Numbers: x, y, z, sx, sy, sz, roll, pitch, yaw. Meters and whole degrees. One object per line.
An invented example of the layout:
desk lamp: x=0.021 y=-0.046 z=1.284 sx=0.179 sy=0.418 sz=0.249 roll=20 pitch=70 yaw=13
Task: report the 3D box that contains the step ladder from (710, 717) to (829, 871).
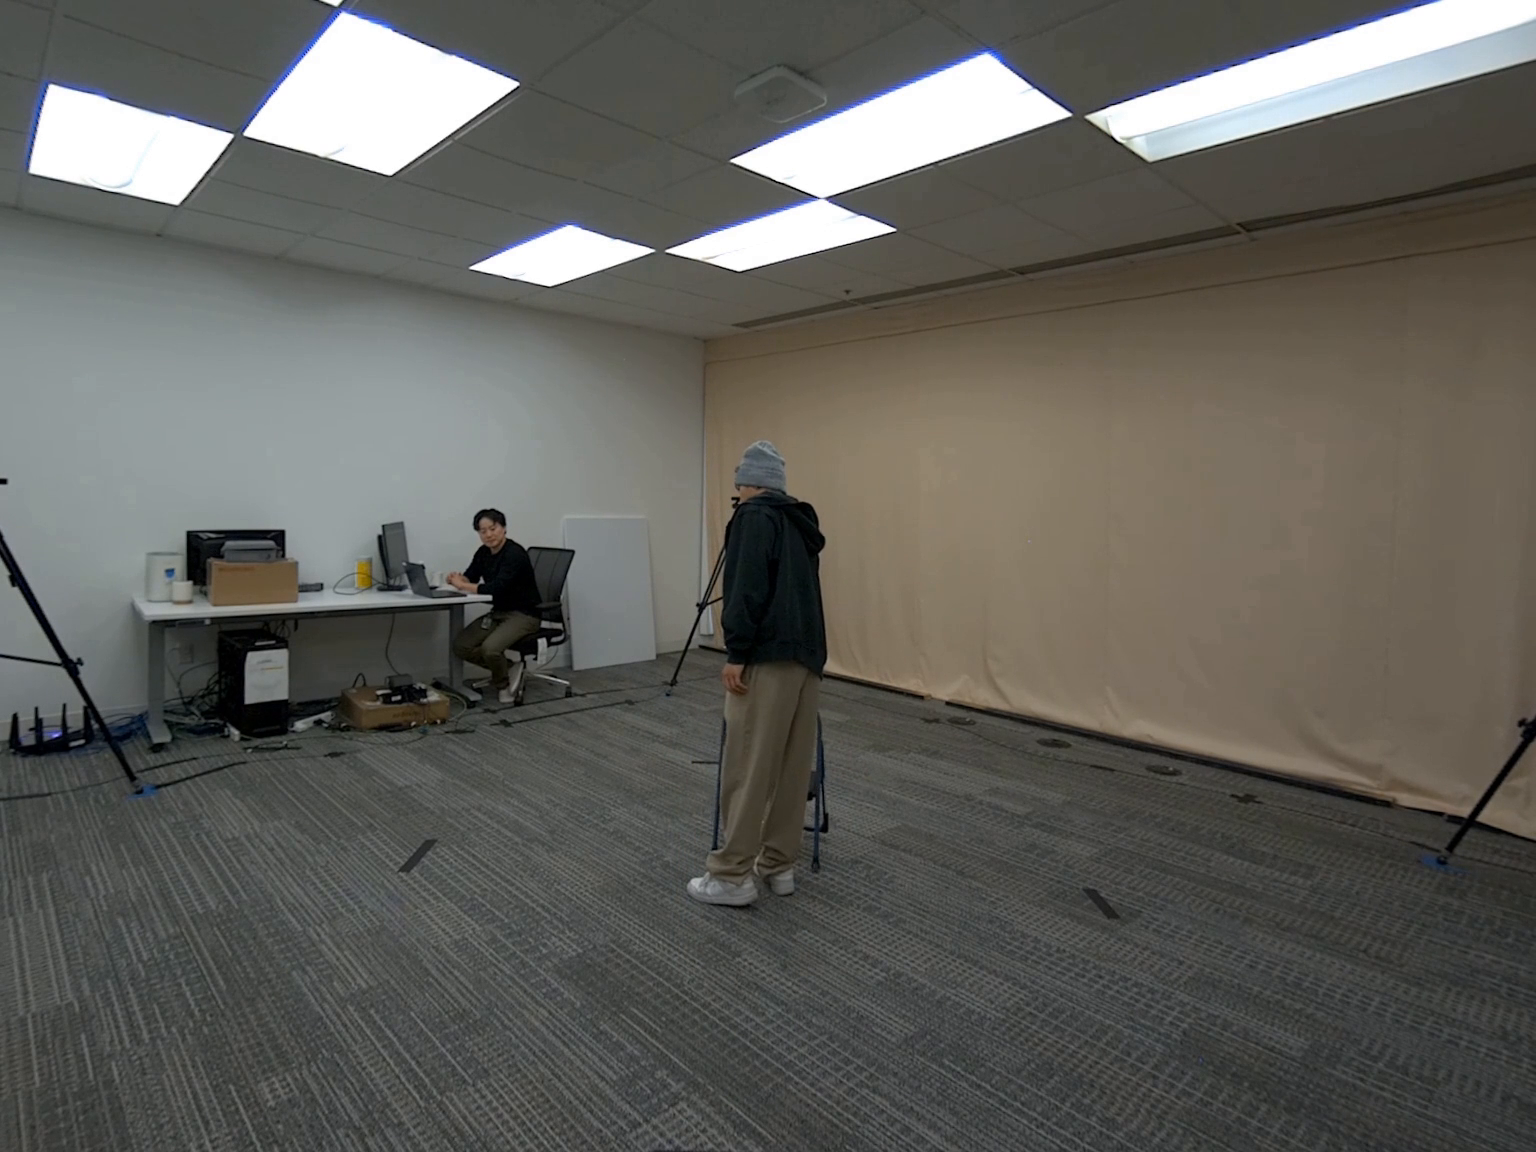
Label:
step ladder: x=0.013 y=0.774 z=3.342 sx=0.435 sy=0.604 sz=0.347 roll=1 pitch=5 yaw=13
